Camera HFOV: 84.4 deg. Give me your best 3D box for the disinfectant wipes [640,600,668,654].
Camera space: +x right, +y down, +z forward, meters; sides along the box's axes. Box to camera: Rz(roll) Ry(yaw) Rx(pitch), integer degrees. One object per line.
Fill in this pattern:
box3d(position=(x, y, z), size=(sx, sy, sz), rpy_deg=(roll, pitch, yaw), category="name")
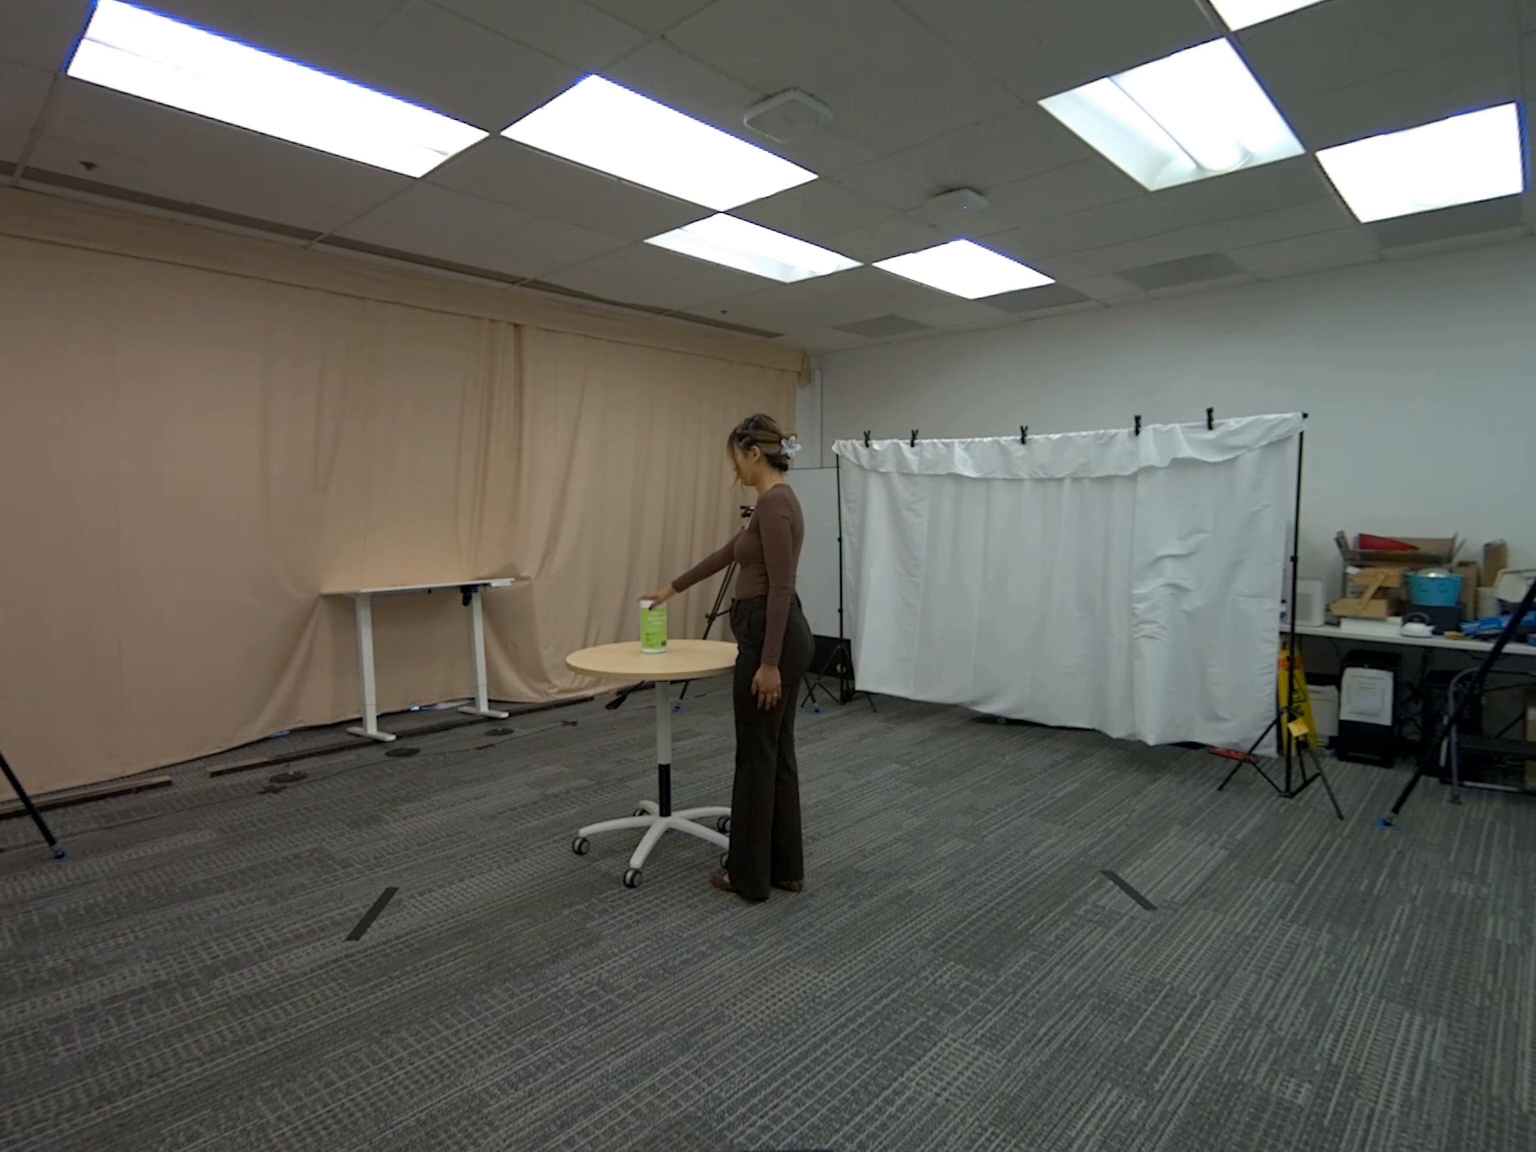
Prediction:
box3d(position=(-0.469, 0.204, 3.459), size=(0.117, 0.217, 0.118), rpy_deg=(1, 4, -2), category="disinfectant wipes")
